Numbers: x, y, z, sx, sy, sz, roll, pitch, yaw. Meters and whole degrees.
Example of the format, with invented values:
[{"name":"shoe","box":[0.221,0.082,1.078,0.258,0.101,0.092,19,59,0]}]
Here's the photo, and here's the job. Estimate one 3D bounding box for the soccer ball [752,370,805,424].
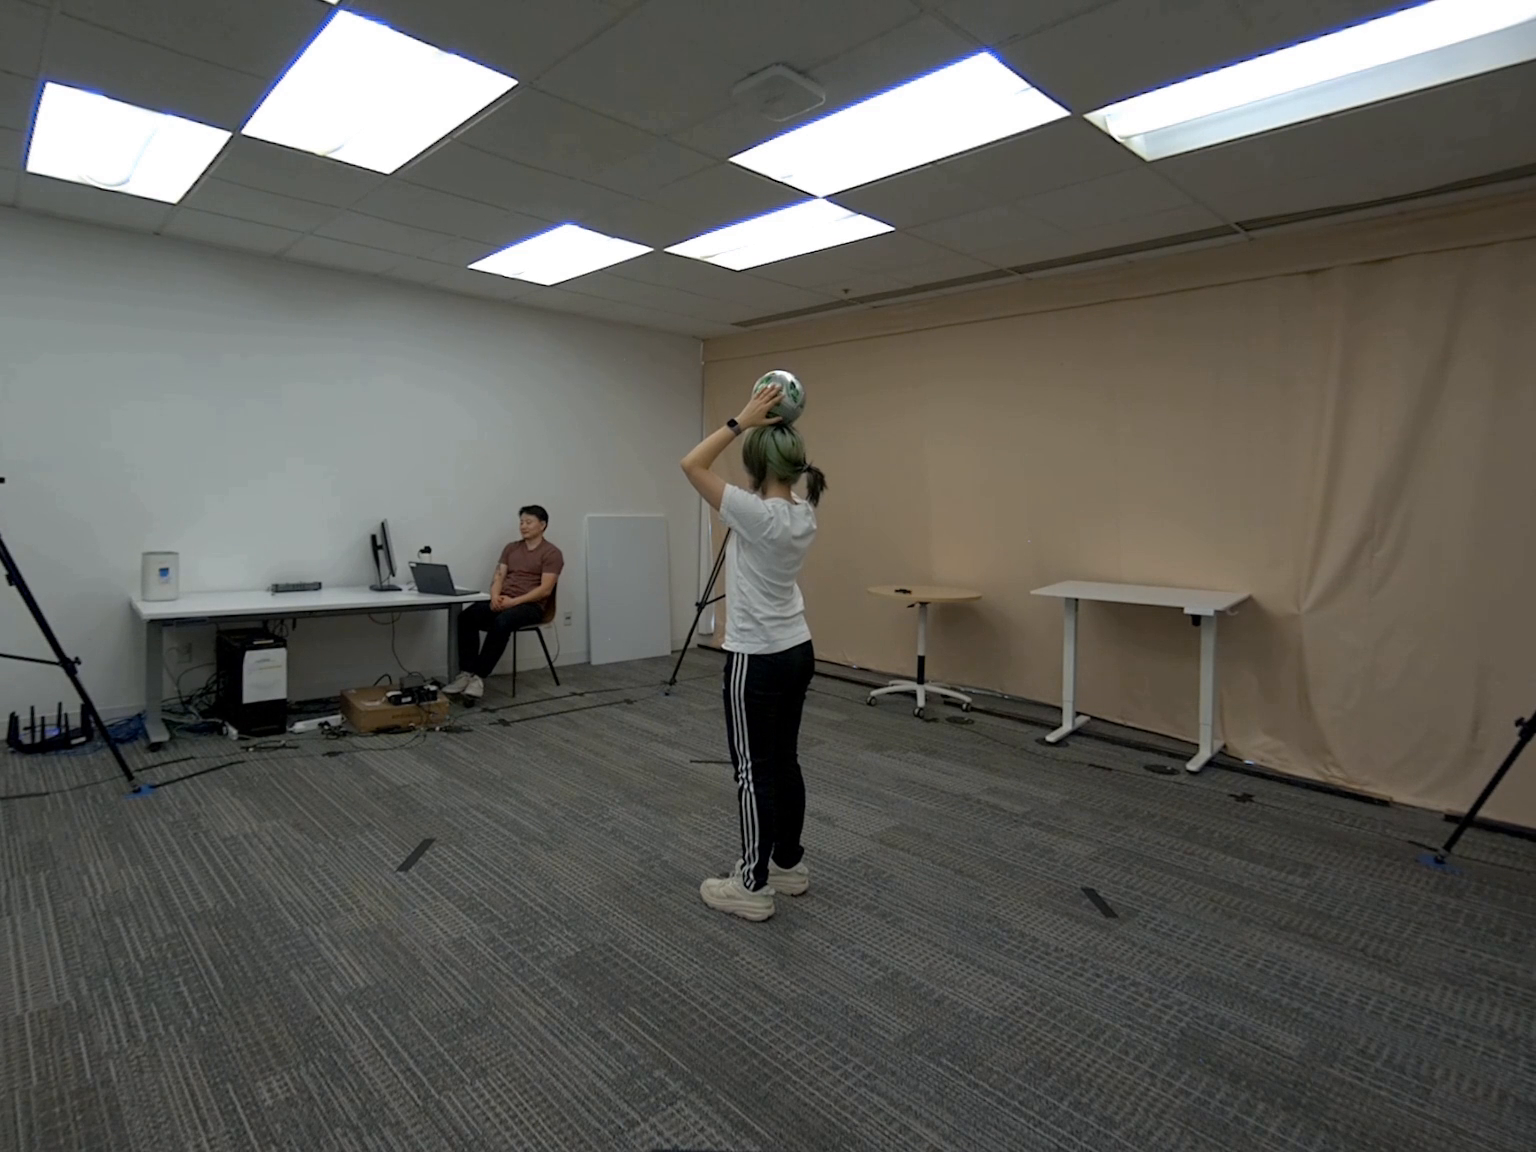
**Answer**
[{"name":"soccer ball","box":[0.031,-0.599,2.848,0.187,0.187,0.188,1,4,-1]}]
